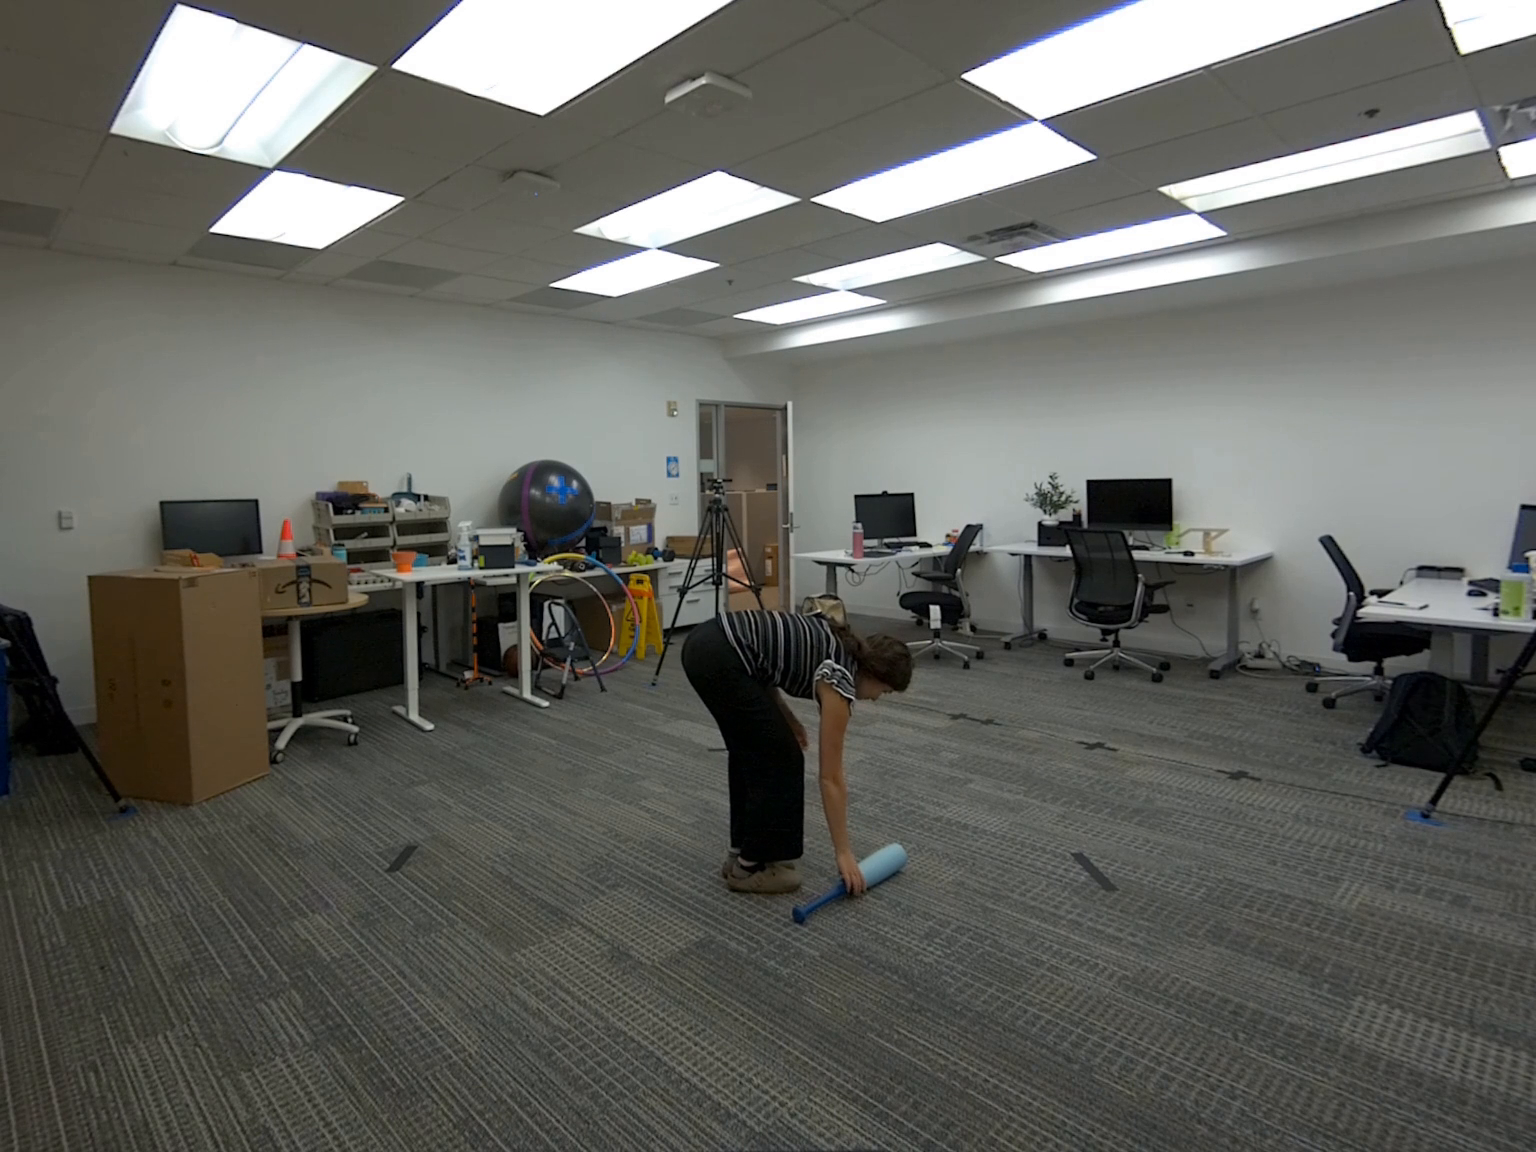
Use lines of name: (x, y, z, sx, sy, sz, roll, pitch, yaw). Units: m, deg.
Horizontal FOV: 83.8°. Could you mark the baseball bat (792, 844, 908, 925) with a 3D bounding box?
baseball bat: (0.277, 1.030, 2.859, 0.530, 0.088, 0.092, -11, 10, -42)
